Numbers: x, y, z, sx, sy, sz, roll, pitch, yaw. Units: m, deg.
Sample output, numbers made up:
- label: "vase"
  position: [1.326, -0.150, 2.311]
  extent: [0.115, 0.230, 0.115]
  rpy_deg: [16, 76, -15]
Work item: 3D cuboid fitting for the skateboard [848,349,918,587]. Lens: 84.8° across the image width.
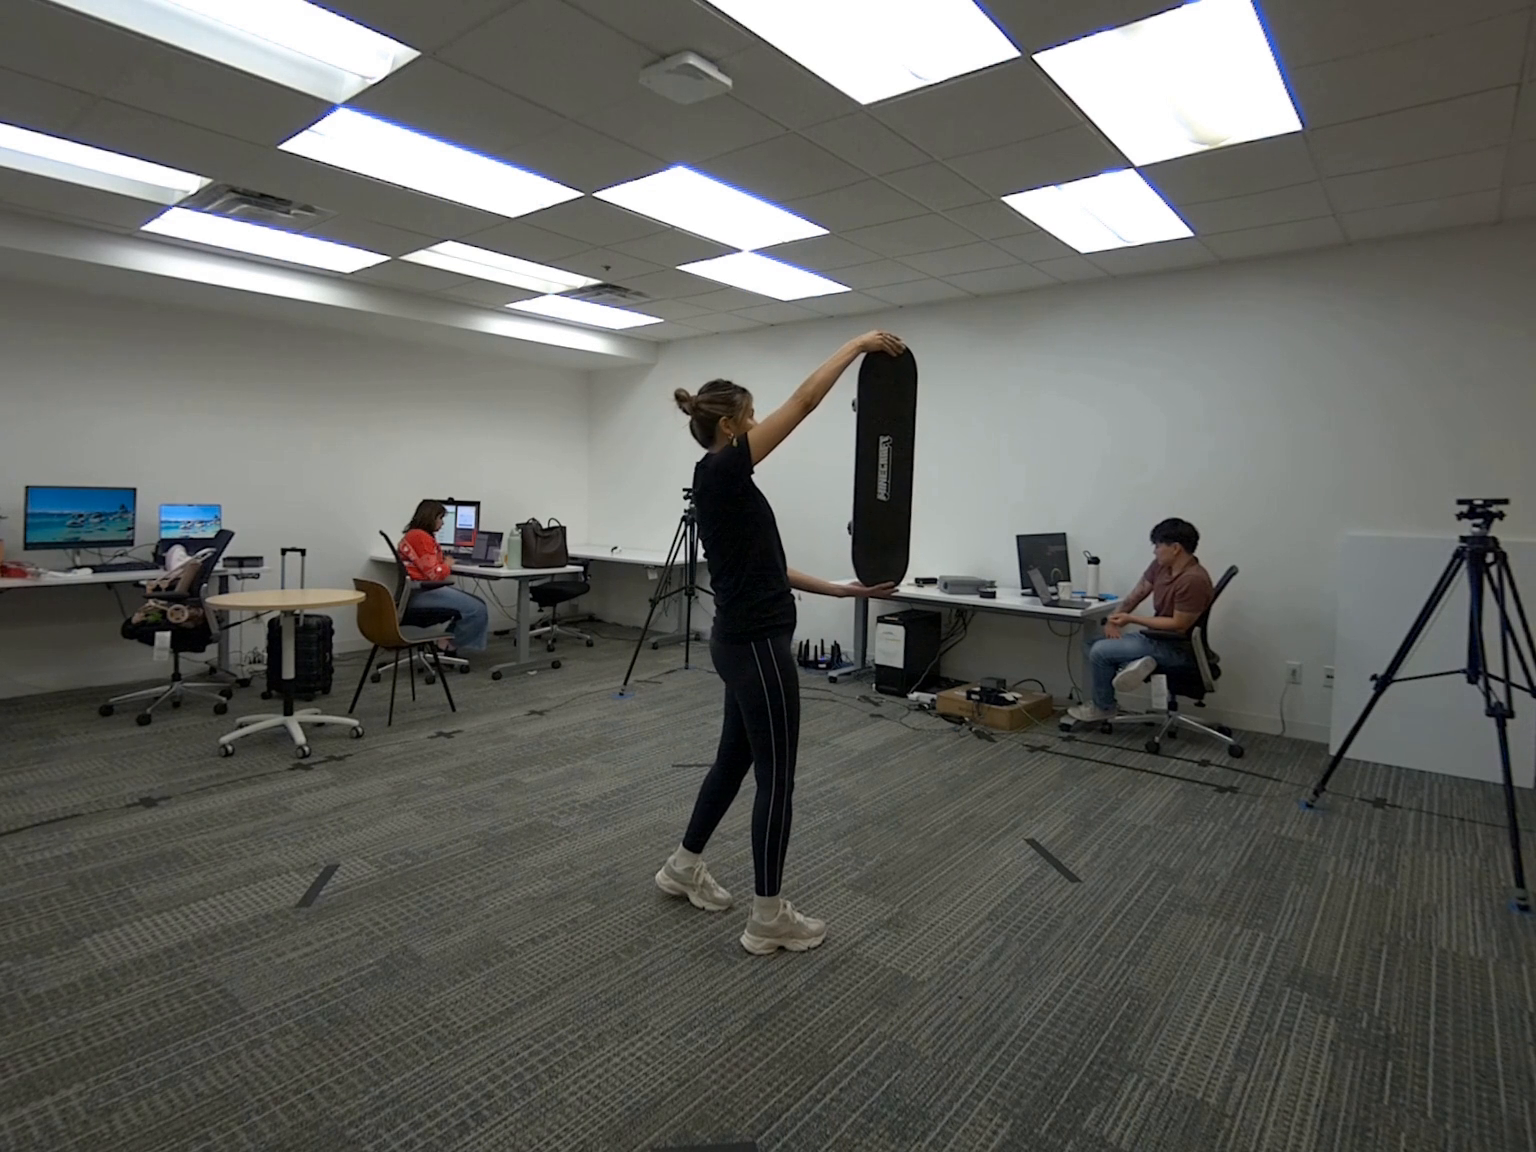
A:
- label: "skateboard"
  position: [0.351, -0.347, 2.713]
  extent: [0.192, 0.780, 0.112]
  rpy_deg: [1, 8, -5]
